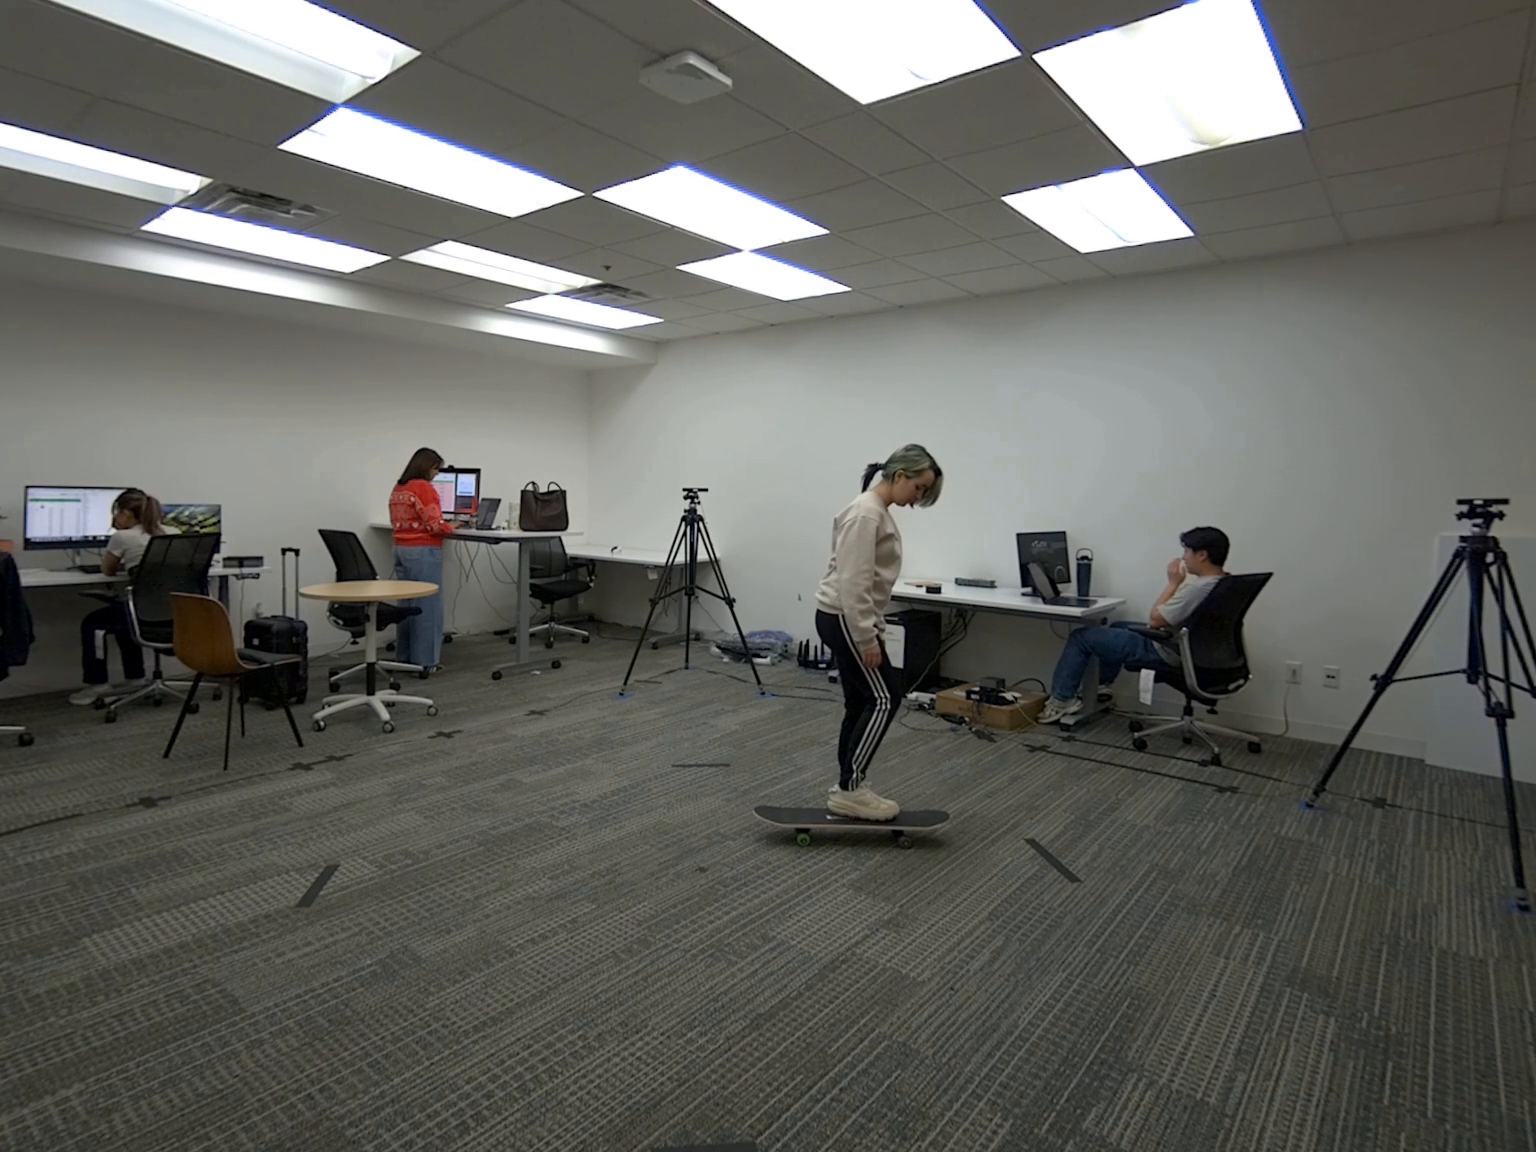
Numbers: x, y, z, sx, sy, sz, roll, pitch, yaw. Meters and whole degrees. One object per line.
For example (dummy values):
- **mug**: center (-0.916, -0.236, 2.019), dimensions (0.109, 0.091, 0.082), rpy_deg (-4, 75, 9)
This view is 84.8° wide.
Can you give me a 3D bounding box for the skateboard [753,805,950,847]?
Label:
- **skateboard**: center (0.323, 0.995, 3.415), dimensions (0.785, 0.110, 0.194), rpy_deg (1, 3, -1)
